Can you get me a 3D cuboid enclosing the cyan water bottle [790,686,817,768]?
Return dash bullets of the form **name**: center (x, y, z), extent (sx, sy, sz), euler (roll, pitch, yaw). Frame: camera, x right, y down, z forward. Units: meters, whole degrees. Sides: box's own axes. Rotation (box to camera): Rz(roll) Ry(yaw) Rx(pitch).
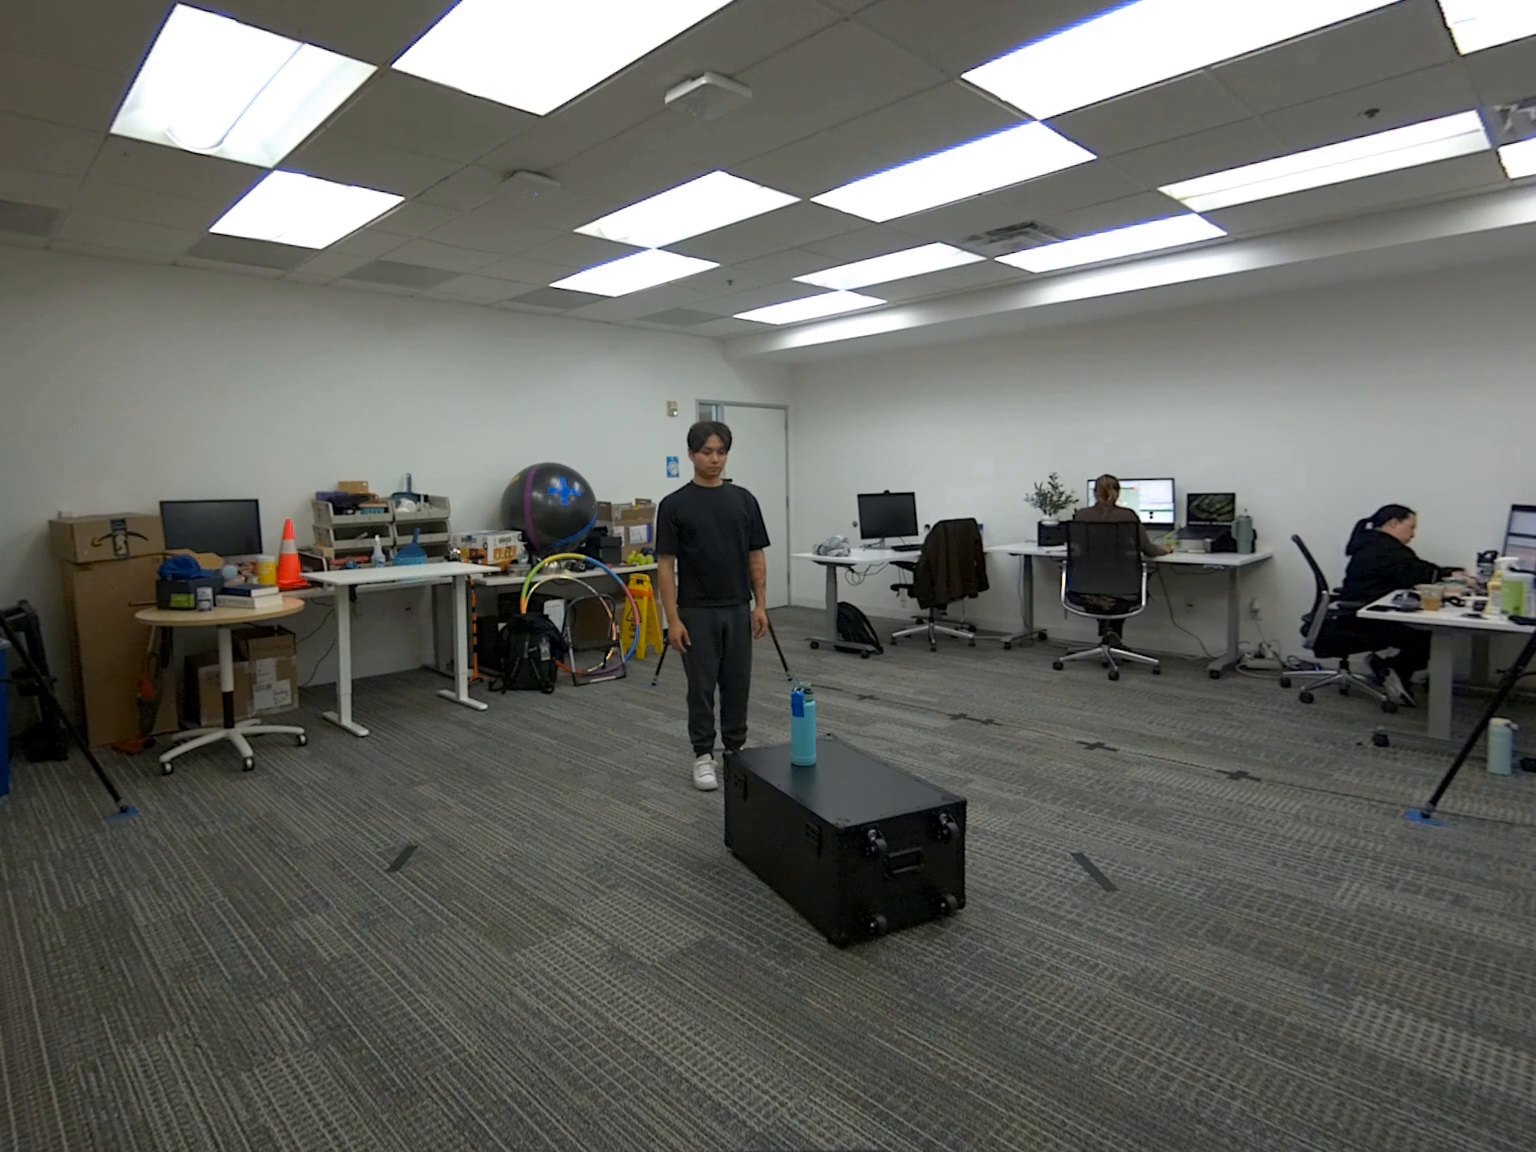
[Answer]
- **cyan water bottle**: center (0.132, 0.529, 3.067), extent (0.092, 0.281, 0.093), euler (-2, 7, -1)
